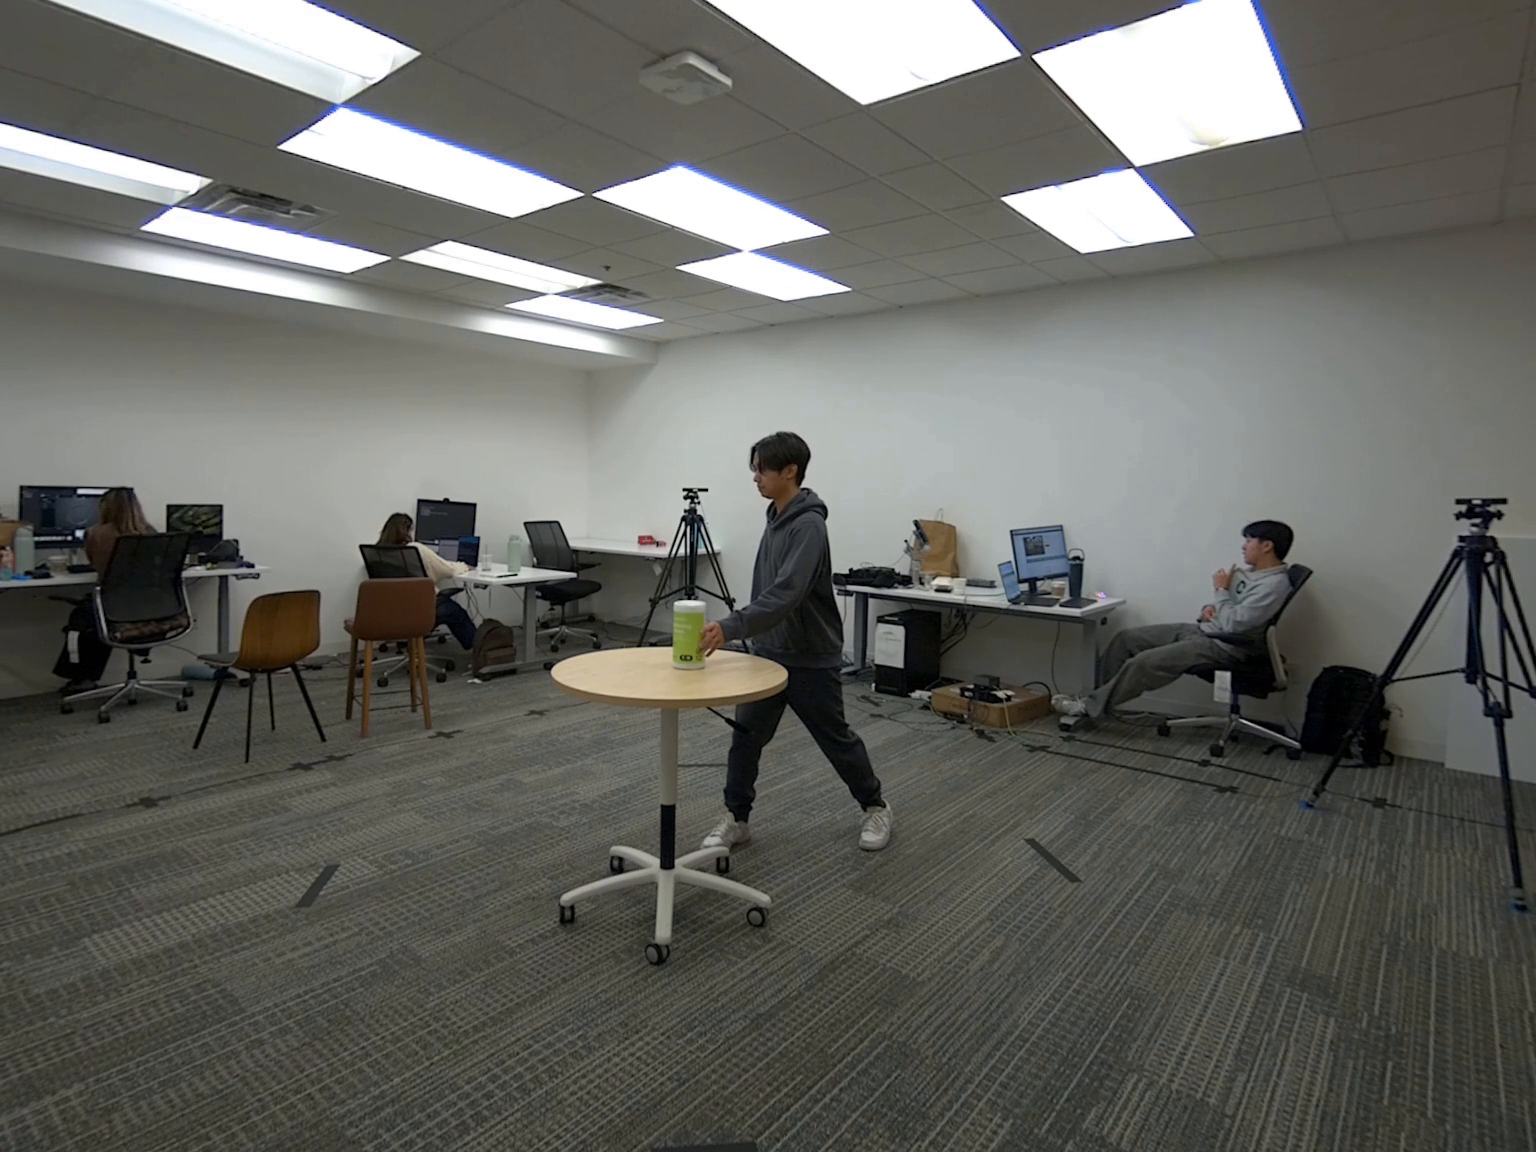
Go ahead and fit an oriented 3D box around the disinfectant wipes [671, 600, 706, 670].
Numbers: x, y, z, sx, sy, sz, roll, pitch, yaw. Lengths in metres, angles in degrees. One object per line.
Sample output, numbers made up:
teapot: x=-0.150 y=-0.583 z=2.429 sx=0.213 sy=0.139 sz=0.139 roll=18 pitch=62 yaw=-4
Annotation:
disinfectant wipes: x=-0.267 y=0.192 z=2.821 sx=0.117 sy=0.216 sz=0.118 roll=1 pitch=5 yaw=-2
